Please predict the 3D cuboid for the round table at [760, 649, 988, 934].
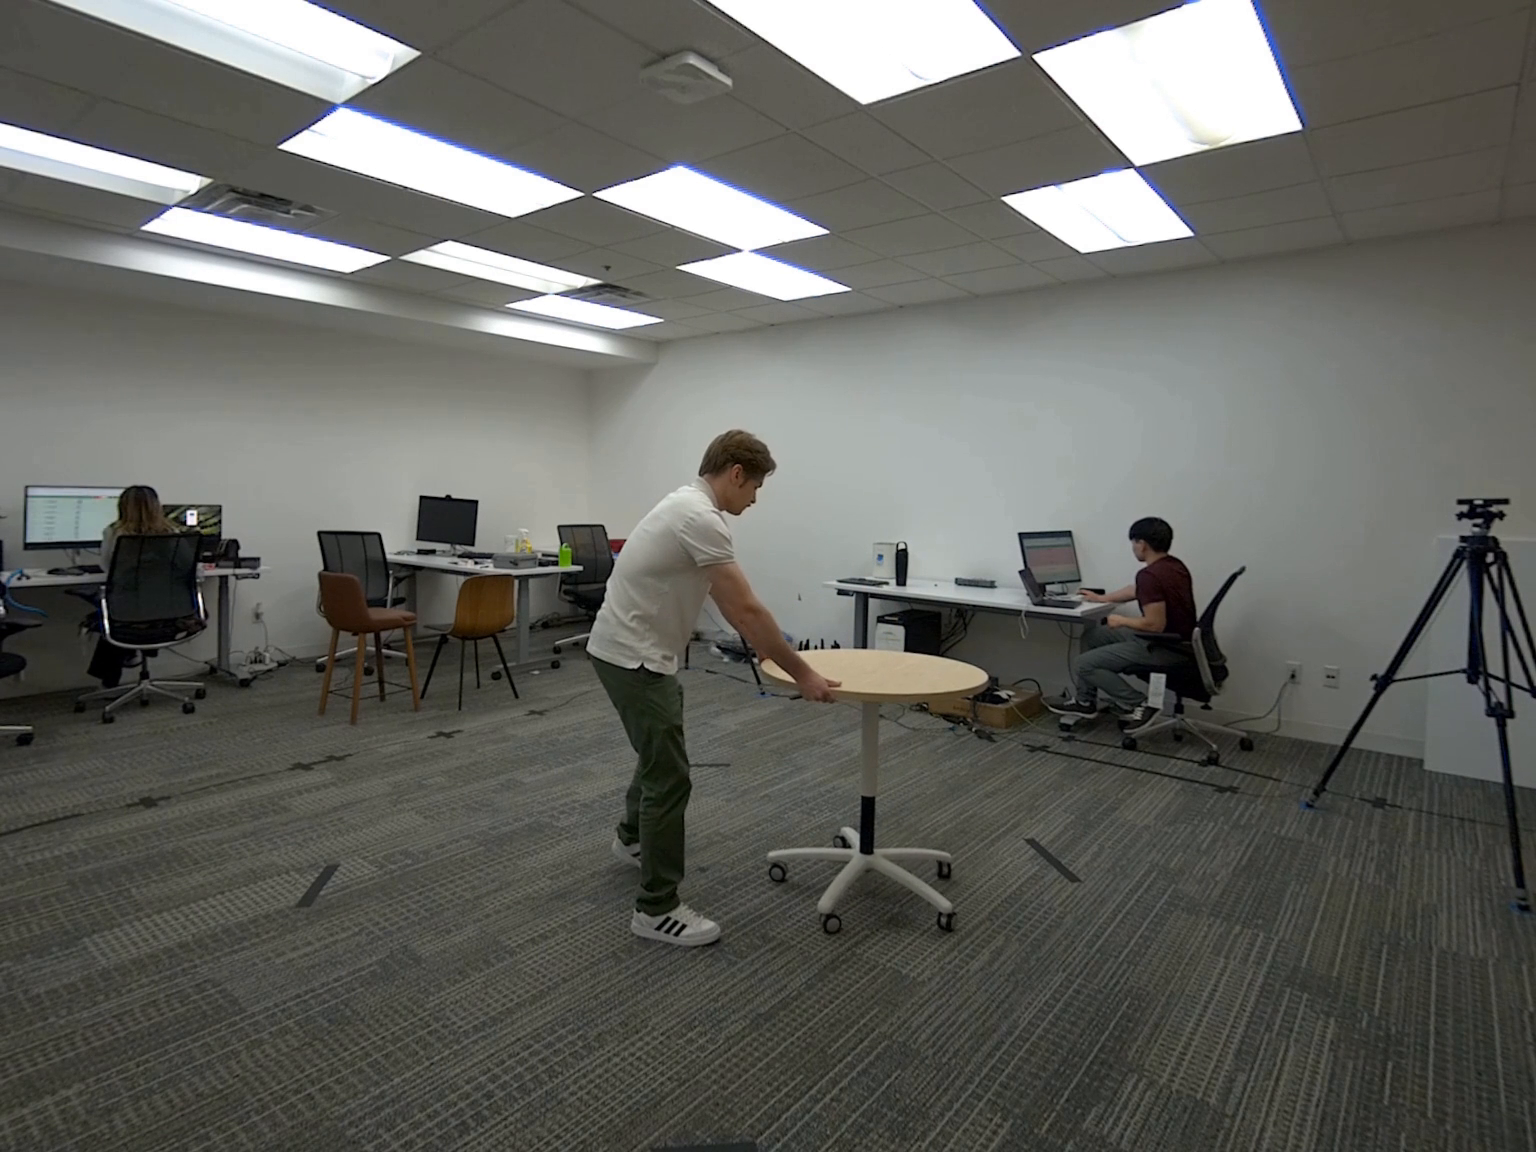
[{"bbox_3d":[0.326,0.705,2.941,0.784,0.784,0.789,1,4,-2],"label":"round table"}]
